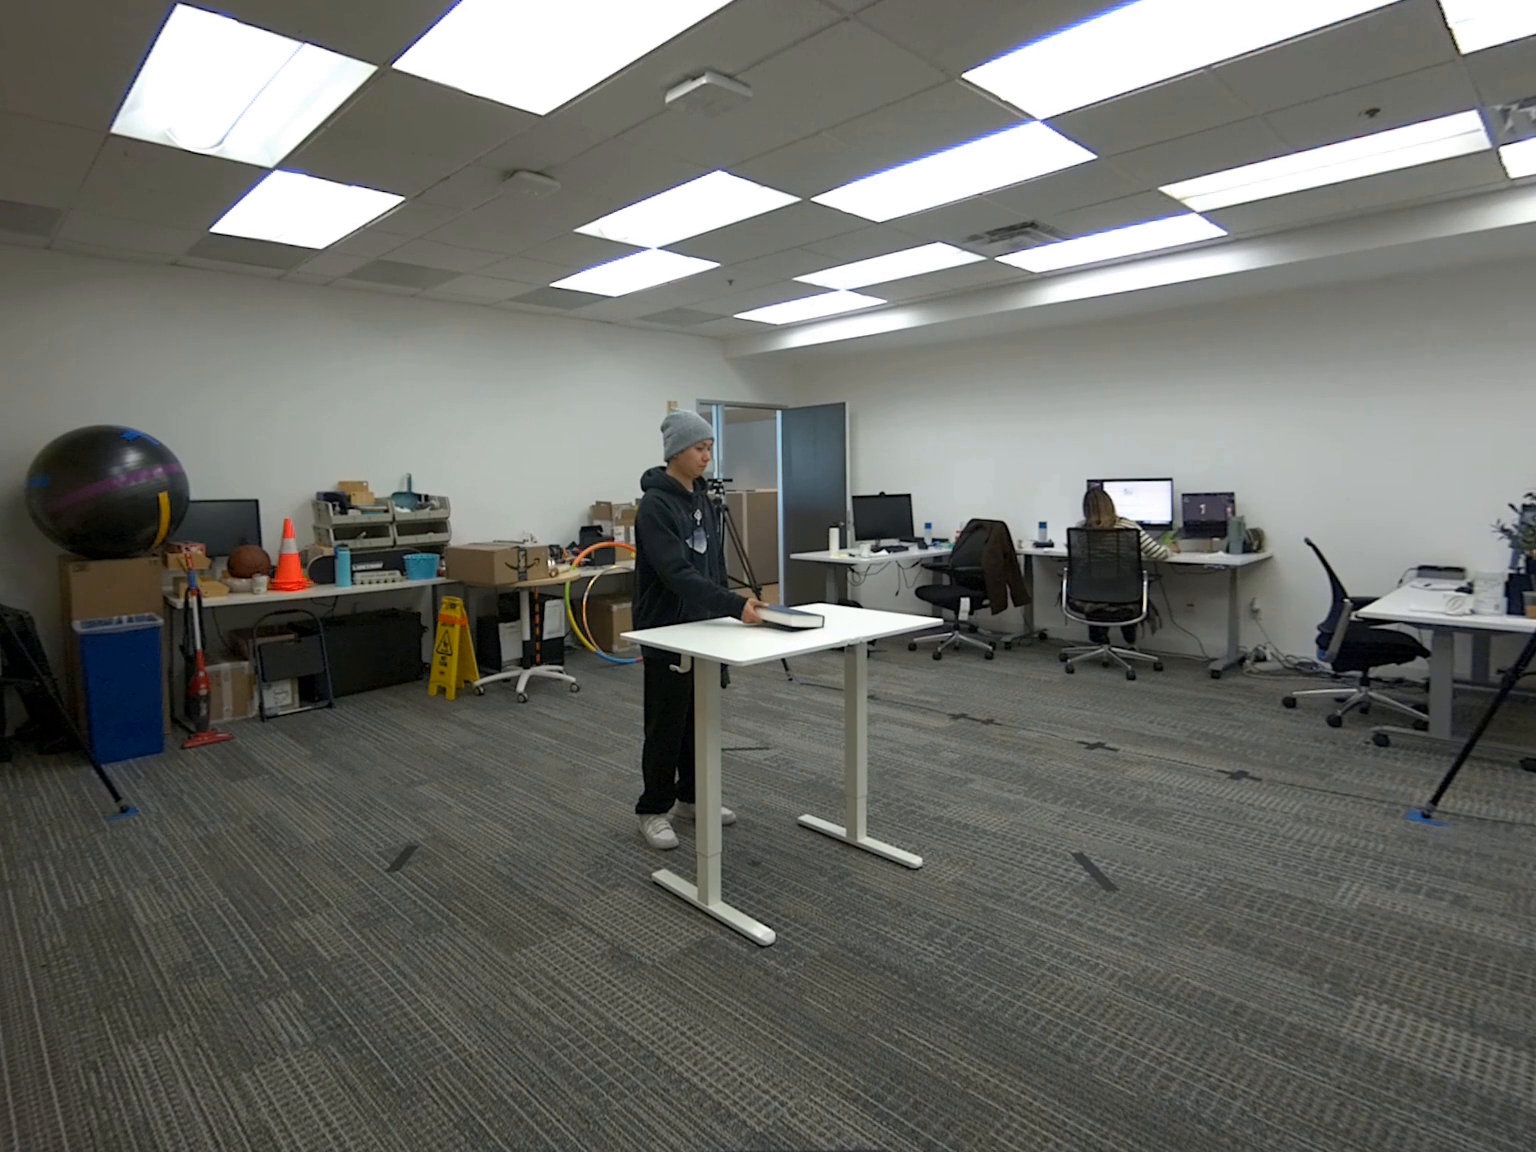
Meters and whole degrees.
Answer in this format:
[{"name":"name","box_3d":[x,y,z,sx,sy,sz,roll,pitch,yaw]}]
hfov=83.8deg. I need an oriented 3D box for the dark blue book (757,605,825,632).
[{"name":"dark blue book","box_3d":[0.055,0.139,2.979,0.158,0.045,0.253,3,4,-42]}]
